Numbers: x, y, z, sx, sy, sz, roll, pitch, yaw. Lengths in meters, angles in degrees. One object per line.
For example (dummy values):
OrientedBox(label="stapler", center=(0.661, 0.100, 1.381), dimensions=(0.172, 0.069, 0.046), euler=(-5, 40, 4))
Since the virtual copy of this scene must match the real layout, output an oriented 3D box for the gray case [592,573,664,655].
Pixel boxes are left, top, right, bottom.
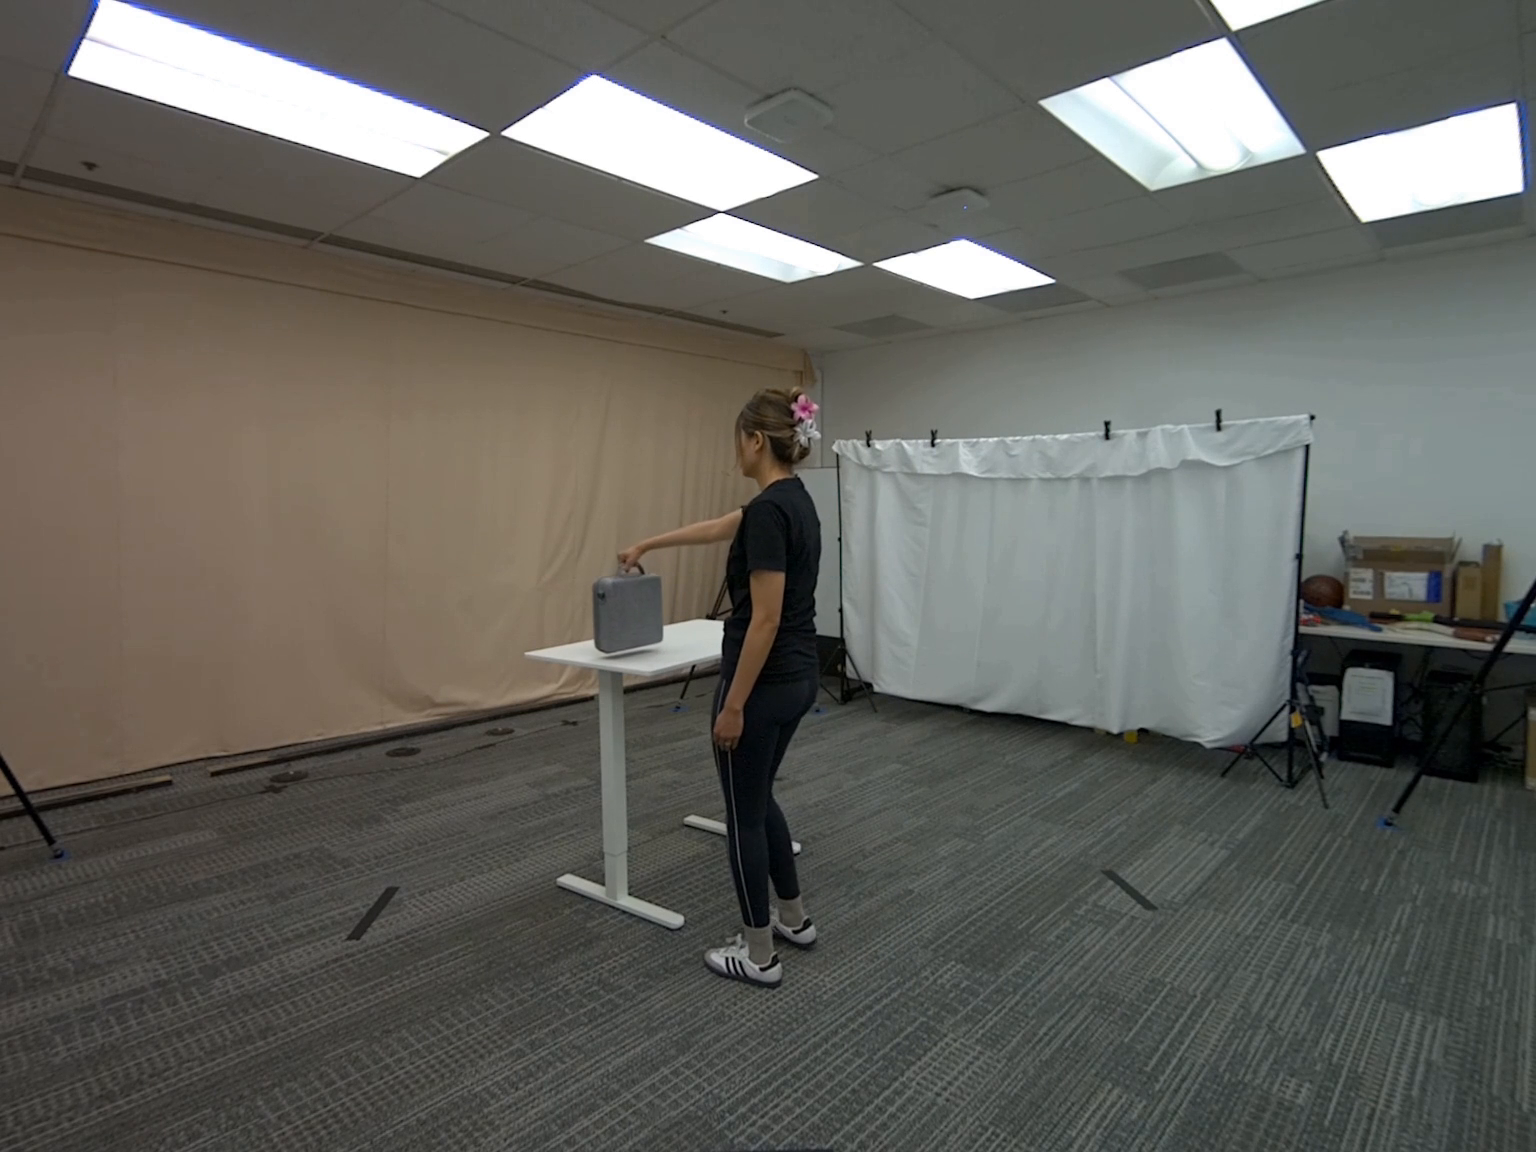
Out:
OrientedBox(label="gray case", center=(-0.478, 0.121, 2.898), dimensions=(0.108, 0.260, 0.249), euler=(3, 8, 41))
